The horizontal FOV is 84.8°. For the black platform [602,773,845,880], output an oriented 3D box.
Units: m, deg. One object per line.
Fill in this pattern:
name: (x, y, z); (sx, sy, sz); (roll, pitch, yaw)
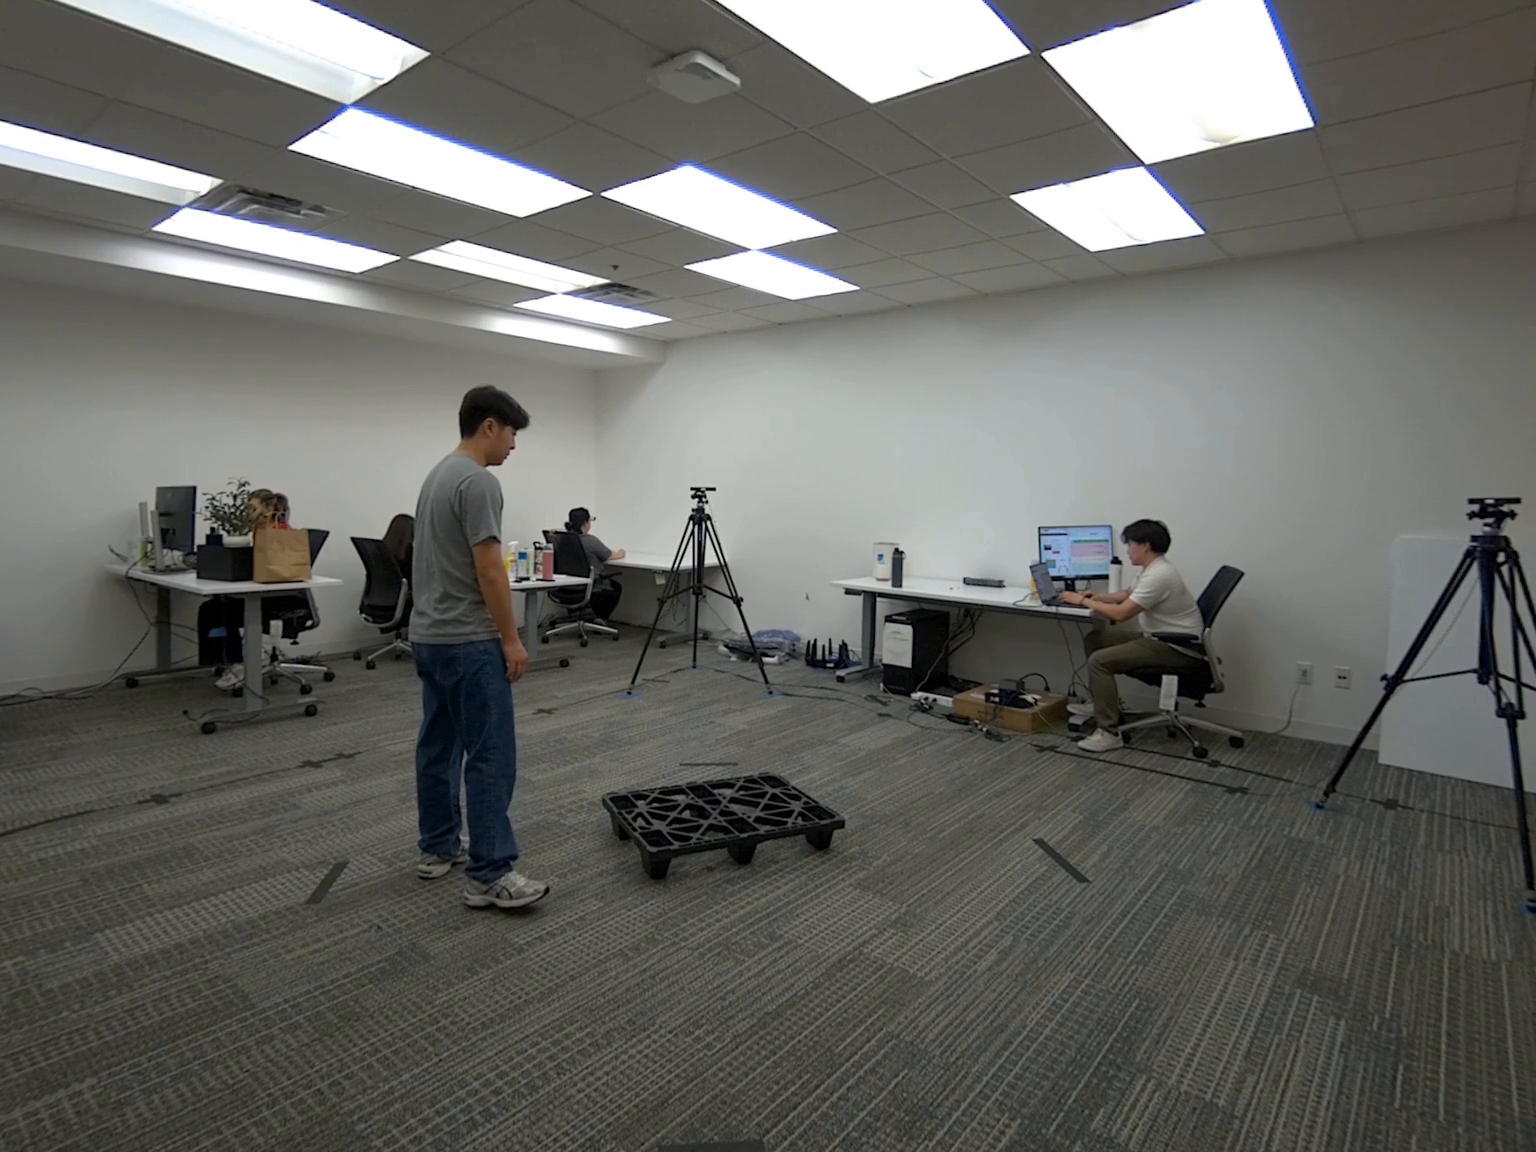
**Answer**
black platform: (-0.195, 0.972, 3.359); (0.787, 0.143, 0.622); (-2, 7, -25)
